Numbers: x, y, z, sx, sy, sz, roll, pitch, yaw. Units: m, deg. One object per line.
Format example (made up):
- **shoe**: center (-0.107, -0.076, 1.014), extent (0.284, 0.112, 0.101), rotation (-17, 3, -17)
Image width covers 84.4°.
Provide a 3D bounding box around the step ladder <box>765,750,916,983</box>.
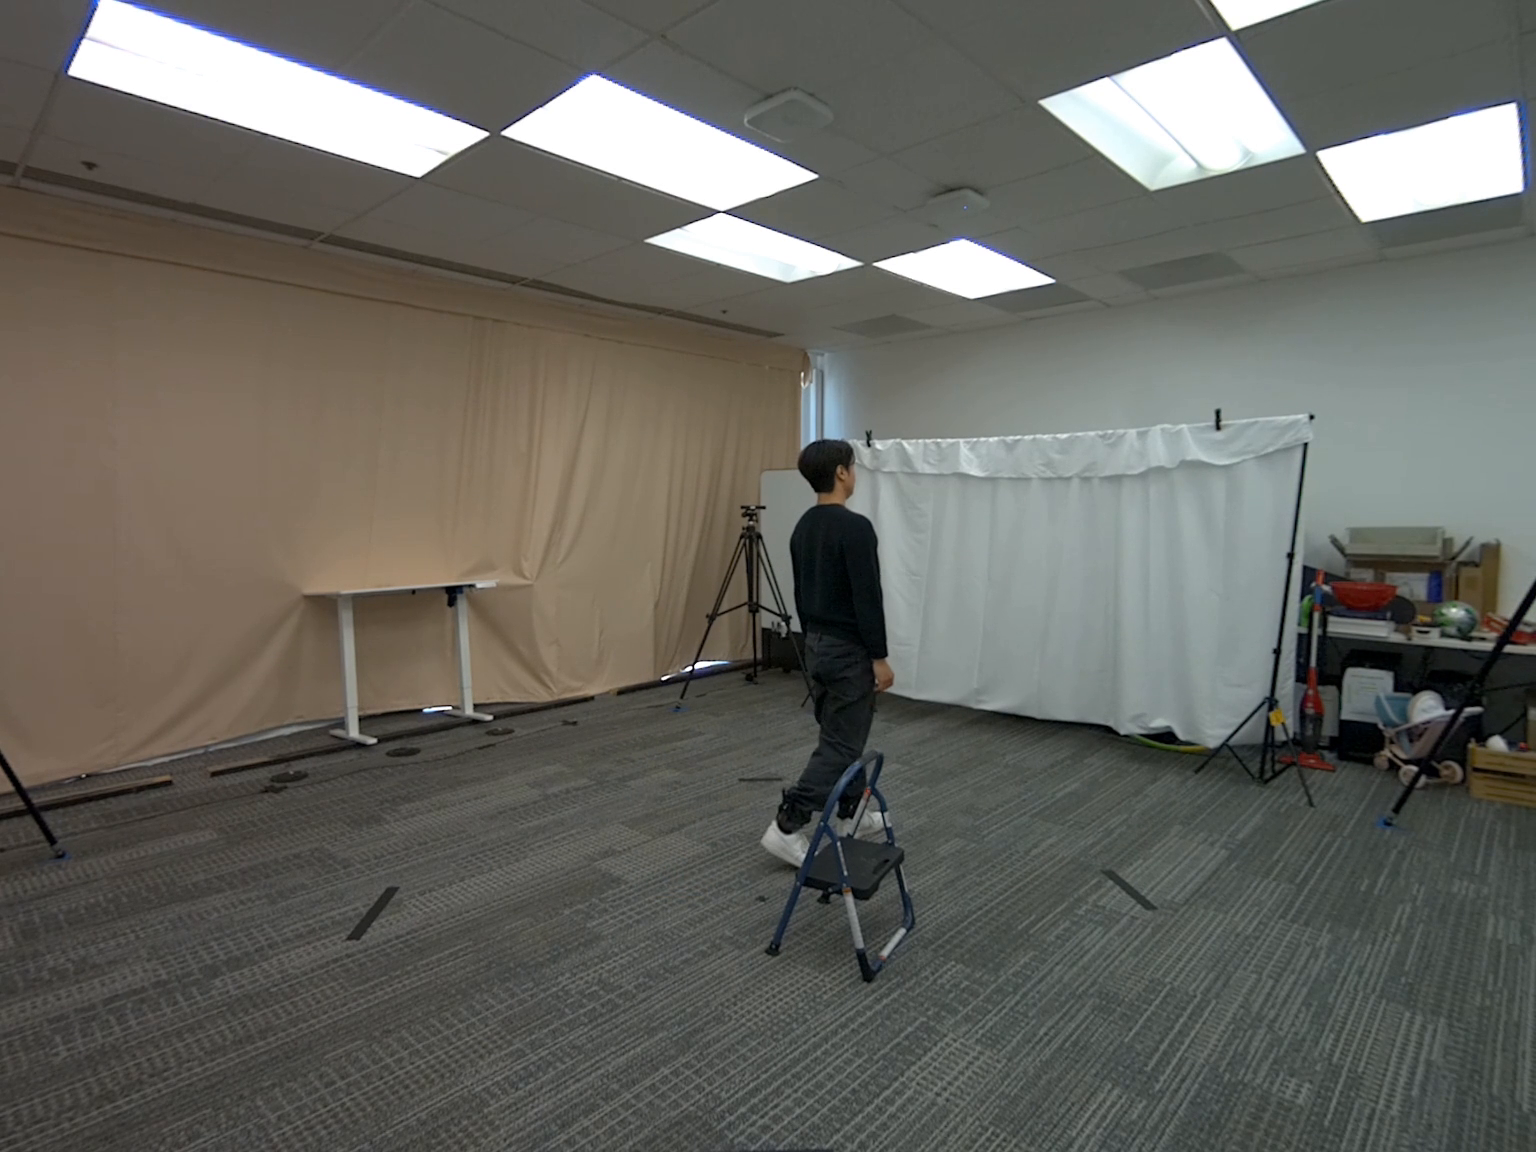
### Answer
- **step ladder**: center (0.240, 0.862, 2.697), extent (0.359, 0.605, 0.419), rotation (1, 3, 29)
